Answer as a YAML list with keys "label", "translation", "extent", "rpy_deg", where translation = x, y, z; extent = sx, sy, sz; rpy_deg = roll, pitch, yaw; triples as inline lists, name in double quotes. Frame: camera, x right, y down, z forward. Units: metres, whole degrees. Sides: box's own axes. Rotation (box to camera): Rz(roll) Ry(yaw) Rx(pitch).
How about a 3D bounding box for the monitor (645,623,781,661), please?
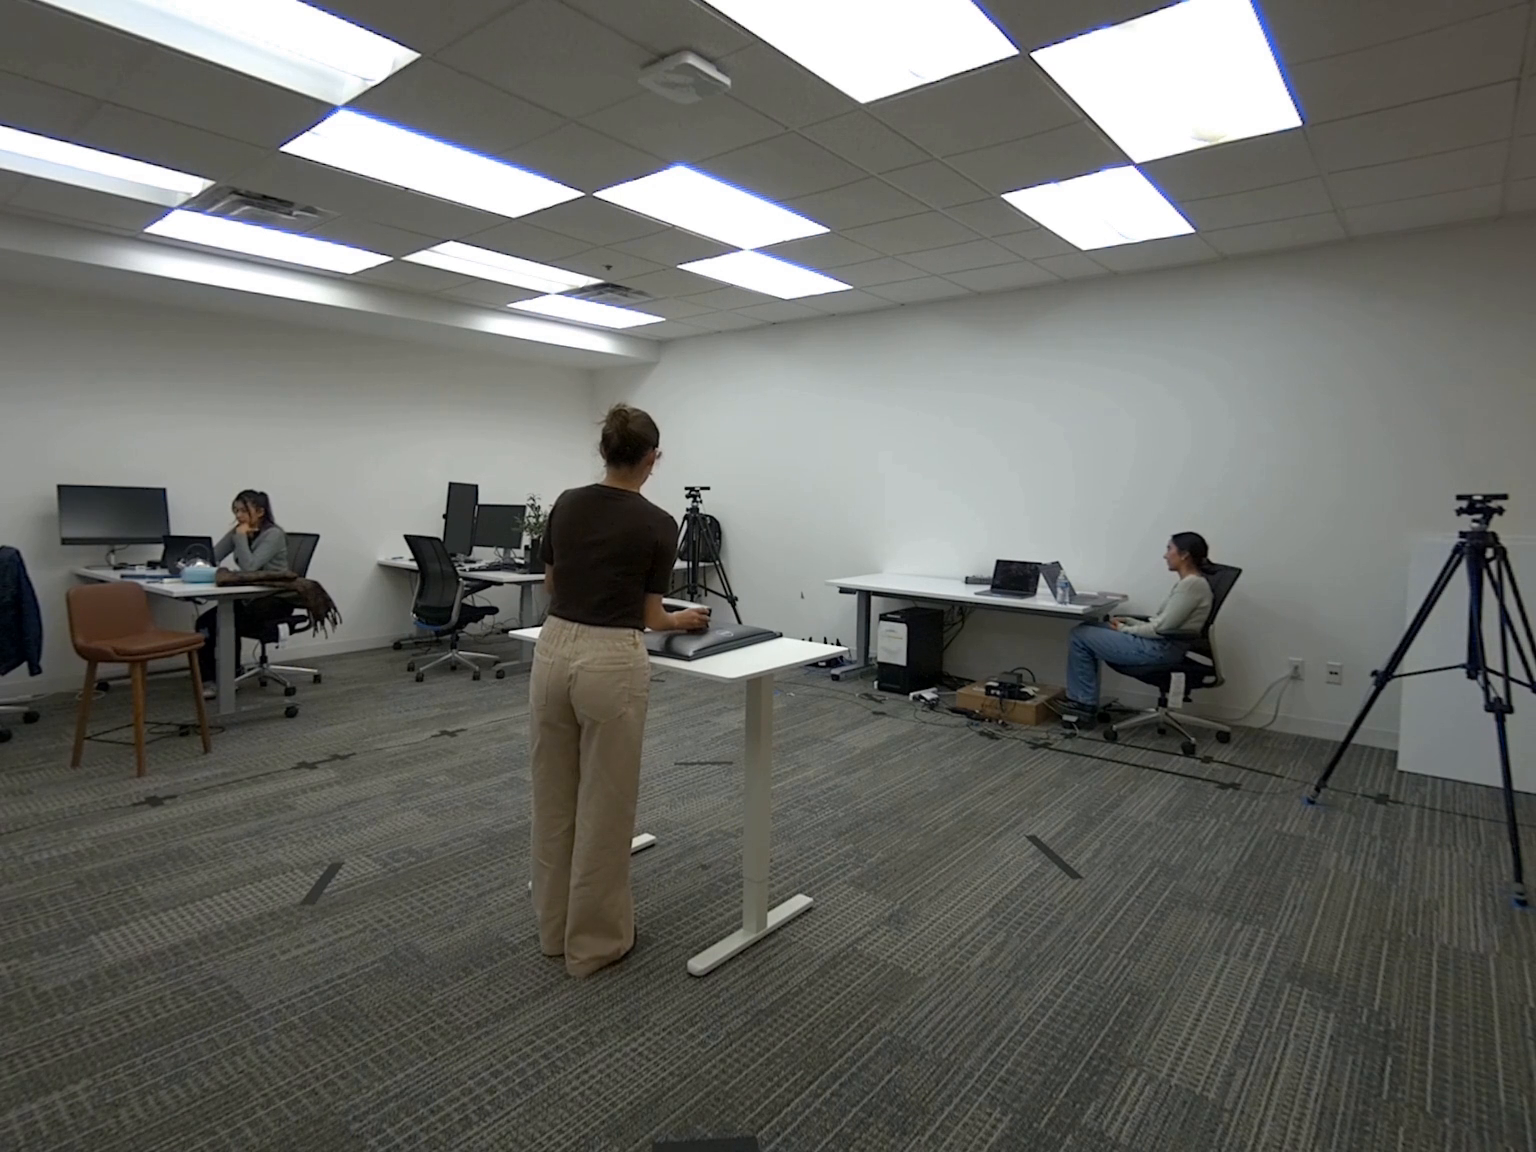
- label: "monitor"
  translation: [-0.307, 0.161, 2.848]
  extent: [0.541, 0.185, 0.525]
  rpy_deg: [16, 16, 33]
